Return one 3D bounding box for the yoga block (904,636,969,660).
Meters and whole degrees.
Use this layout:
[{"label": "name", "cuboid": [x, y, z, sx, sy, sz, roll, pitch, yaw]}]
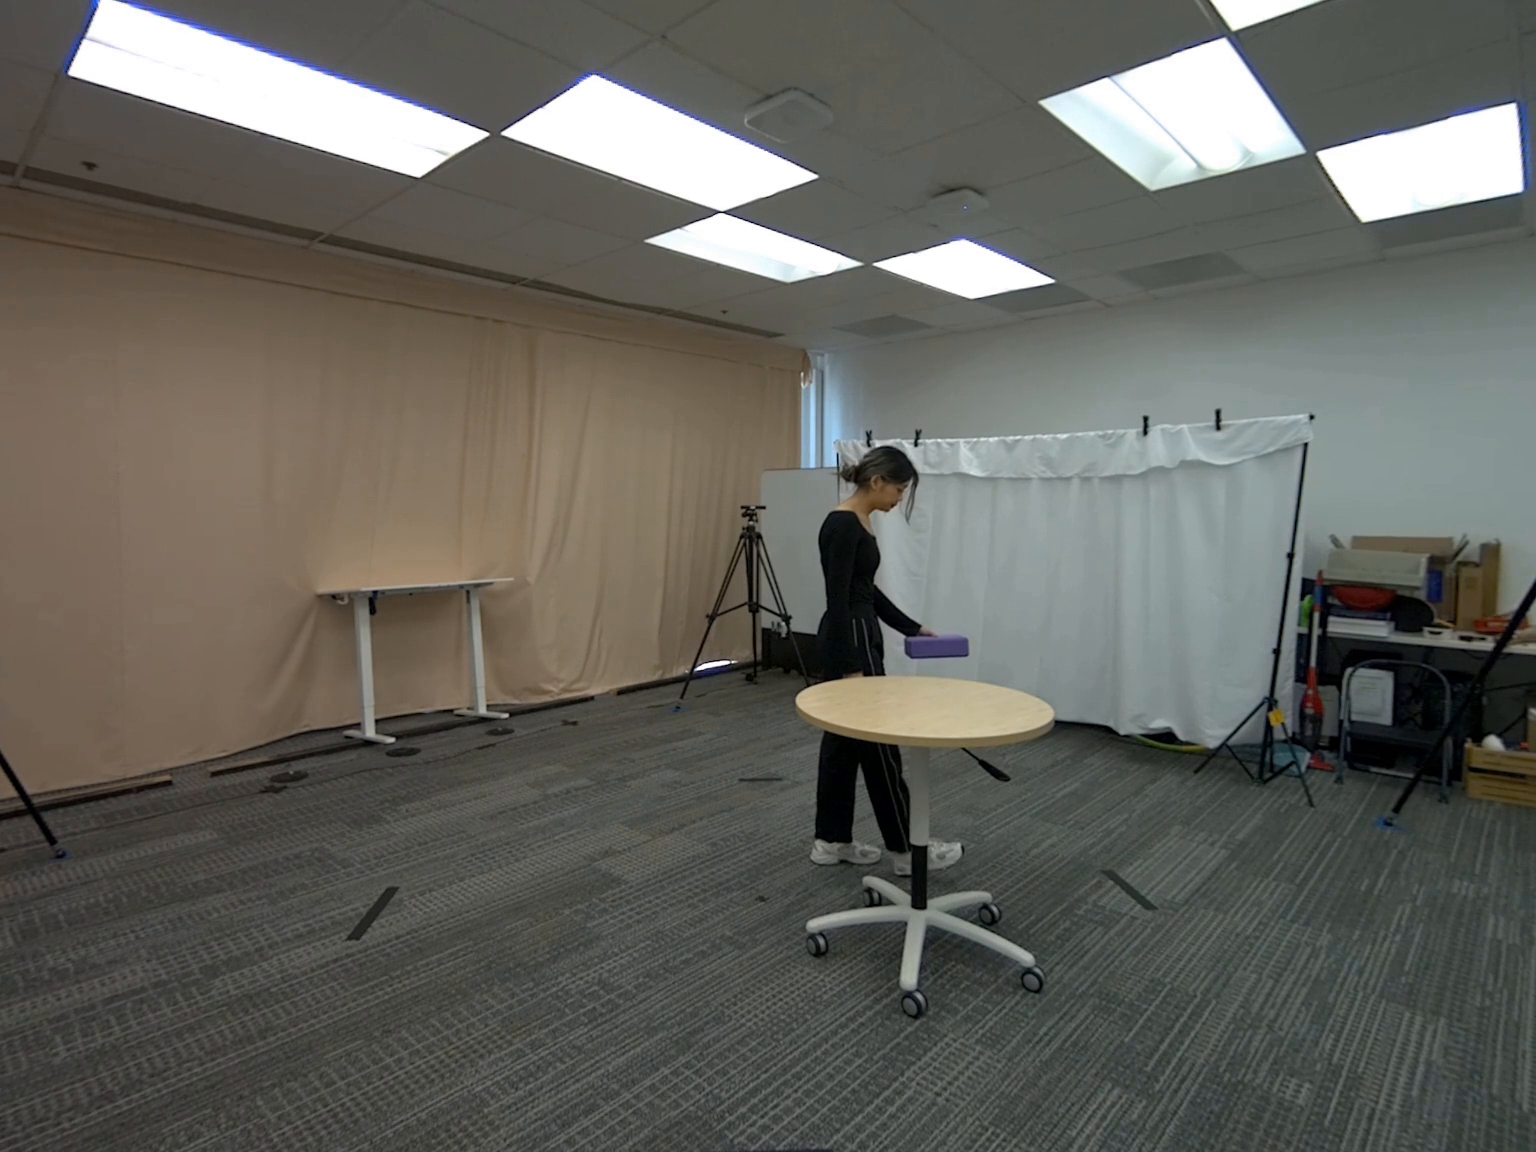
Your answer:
[{"label": "yoga block", "cuboid": [0.673, 0.283, 3.341, 0.231, 0.076, 0.147, -2, -1, 7]}]
